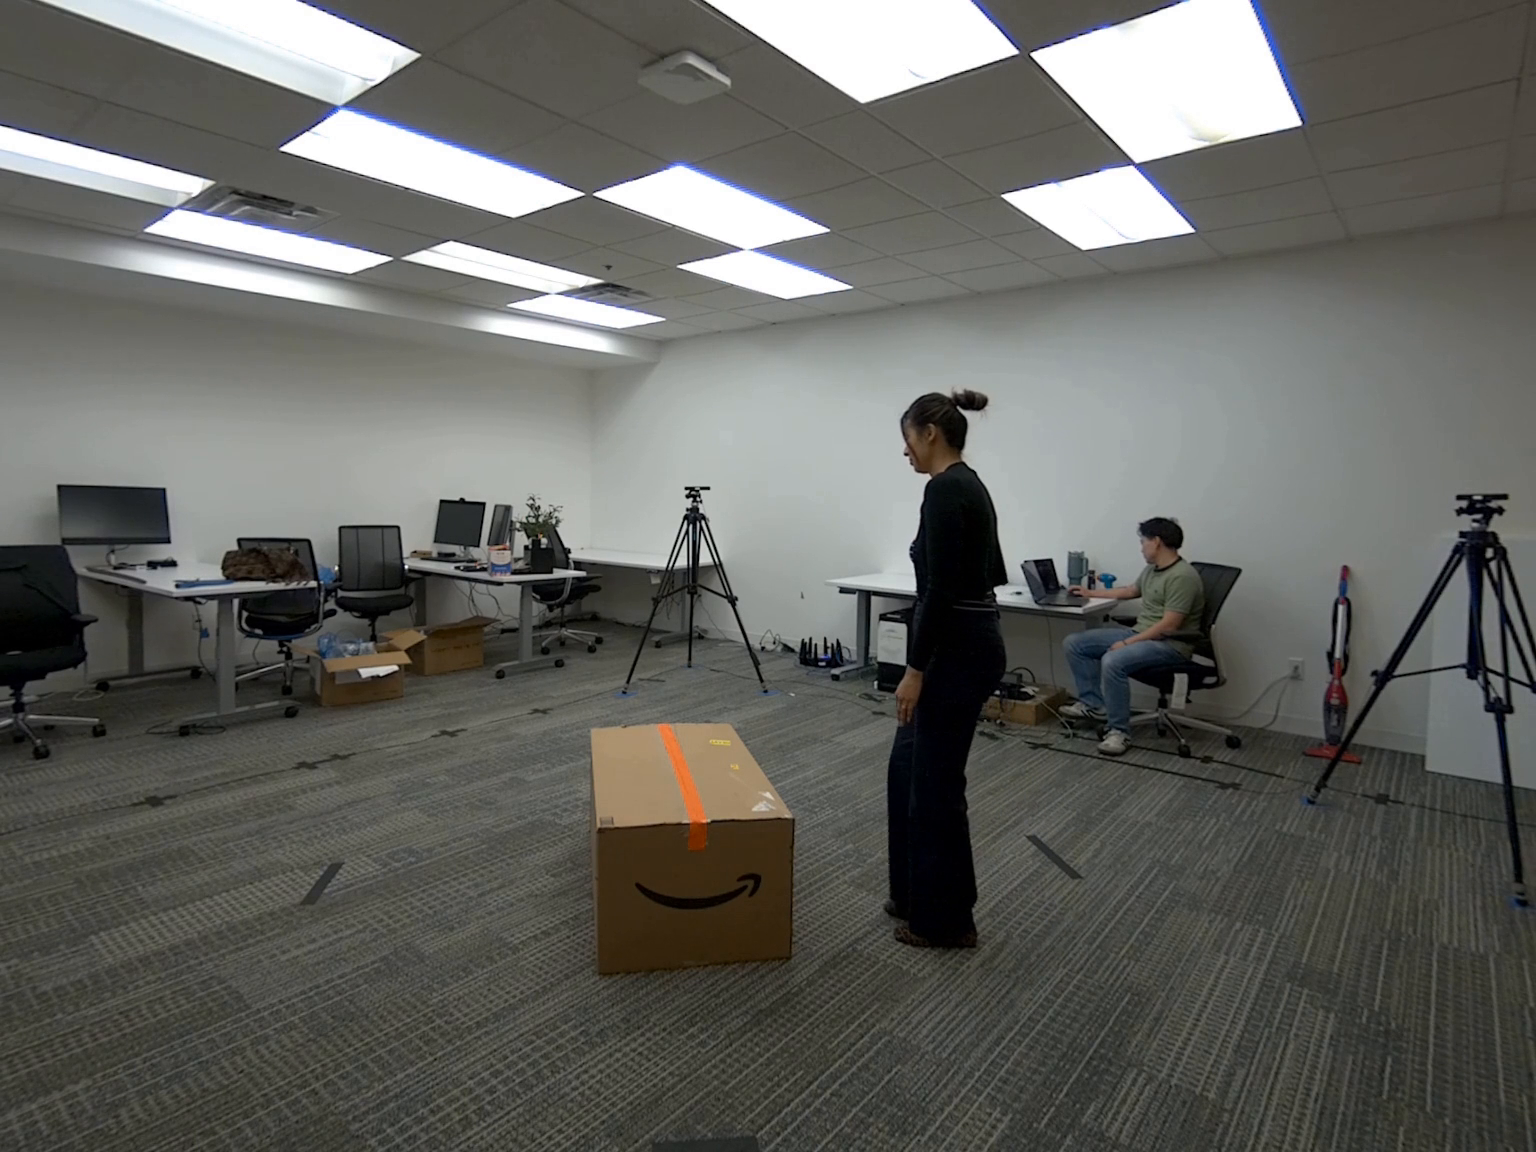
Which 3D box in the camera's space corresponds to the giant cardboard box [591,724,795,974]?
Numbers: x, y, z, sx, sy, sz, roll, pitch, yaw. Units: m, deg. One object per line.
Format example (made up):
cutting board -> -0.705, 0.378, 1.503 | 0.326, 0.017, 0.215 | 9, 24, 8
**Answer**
giant cardboard box -> -0.330, 0.861, 2.952 | 0.570, 0.424, 1.042 | 0, 5, -12
